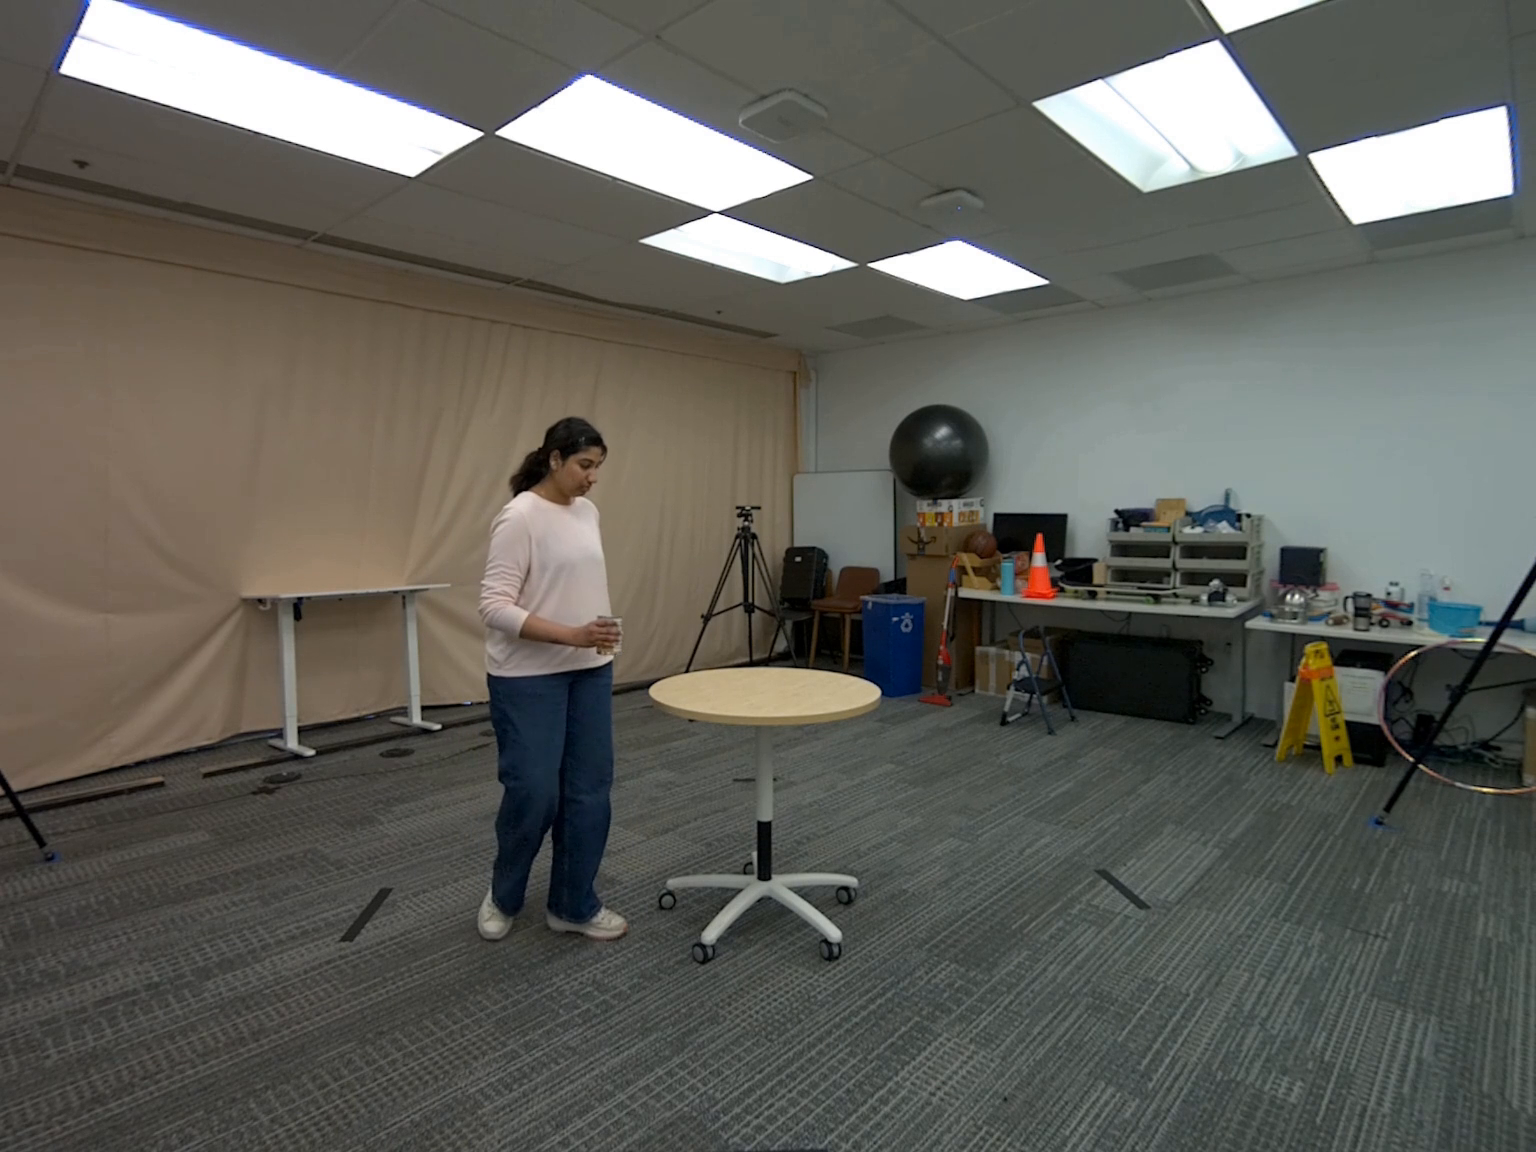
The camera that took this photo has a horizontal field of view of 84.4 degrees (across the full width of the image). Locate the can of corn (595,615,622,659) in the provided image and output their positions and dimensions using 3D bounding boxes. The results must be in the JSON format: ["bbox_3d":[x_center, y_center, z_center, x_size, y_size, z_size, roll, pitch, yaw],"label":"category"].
[{"bbox_3d":[-0.487,0.182,2.516,0.074,0.110,0.074,-4,5,-1],"label":"can of corn"}]
